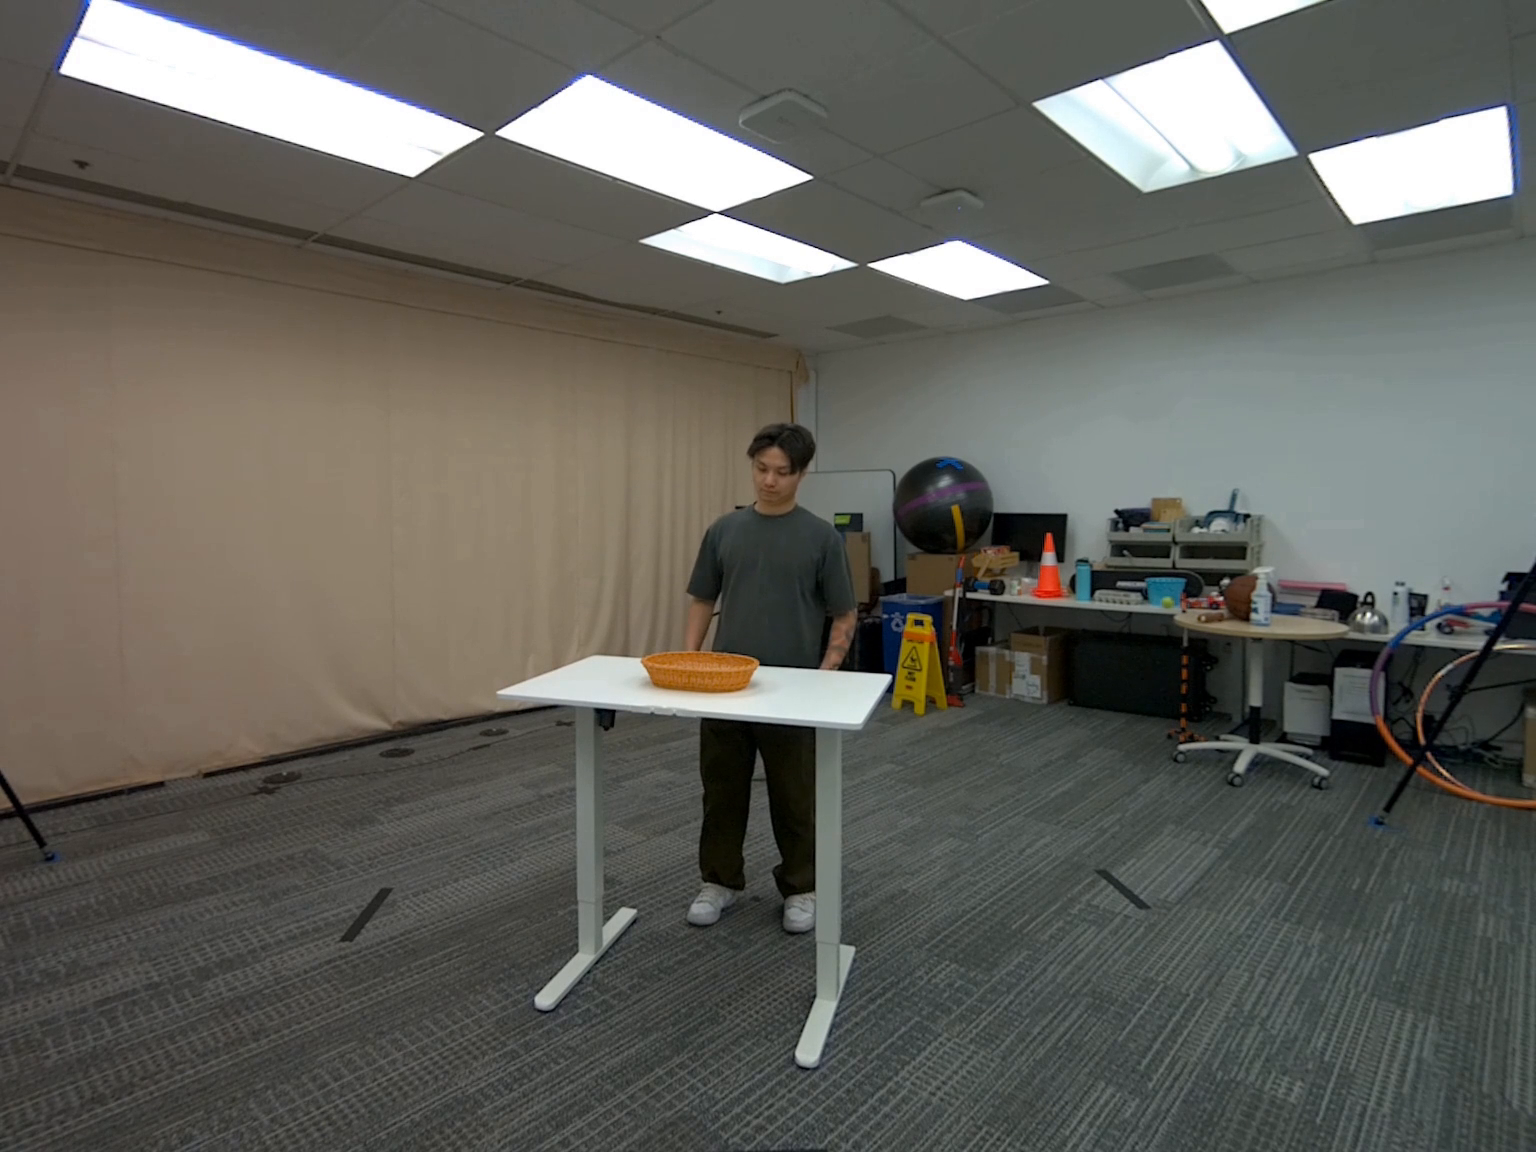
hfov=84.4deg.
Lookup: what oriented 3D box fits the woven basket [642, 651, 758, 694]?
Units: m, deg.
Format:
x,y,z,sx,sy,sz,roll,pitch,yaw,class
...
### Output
x,y,z,sx,sy,sz,roll,pitch,yaw,class
-0.199,0.279,2.417,0.357,0.073,0.248,2,5,19,woven basket
